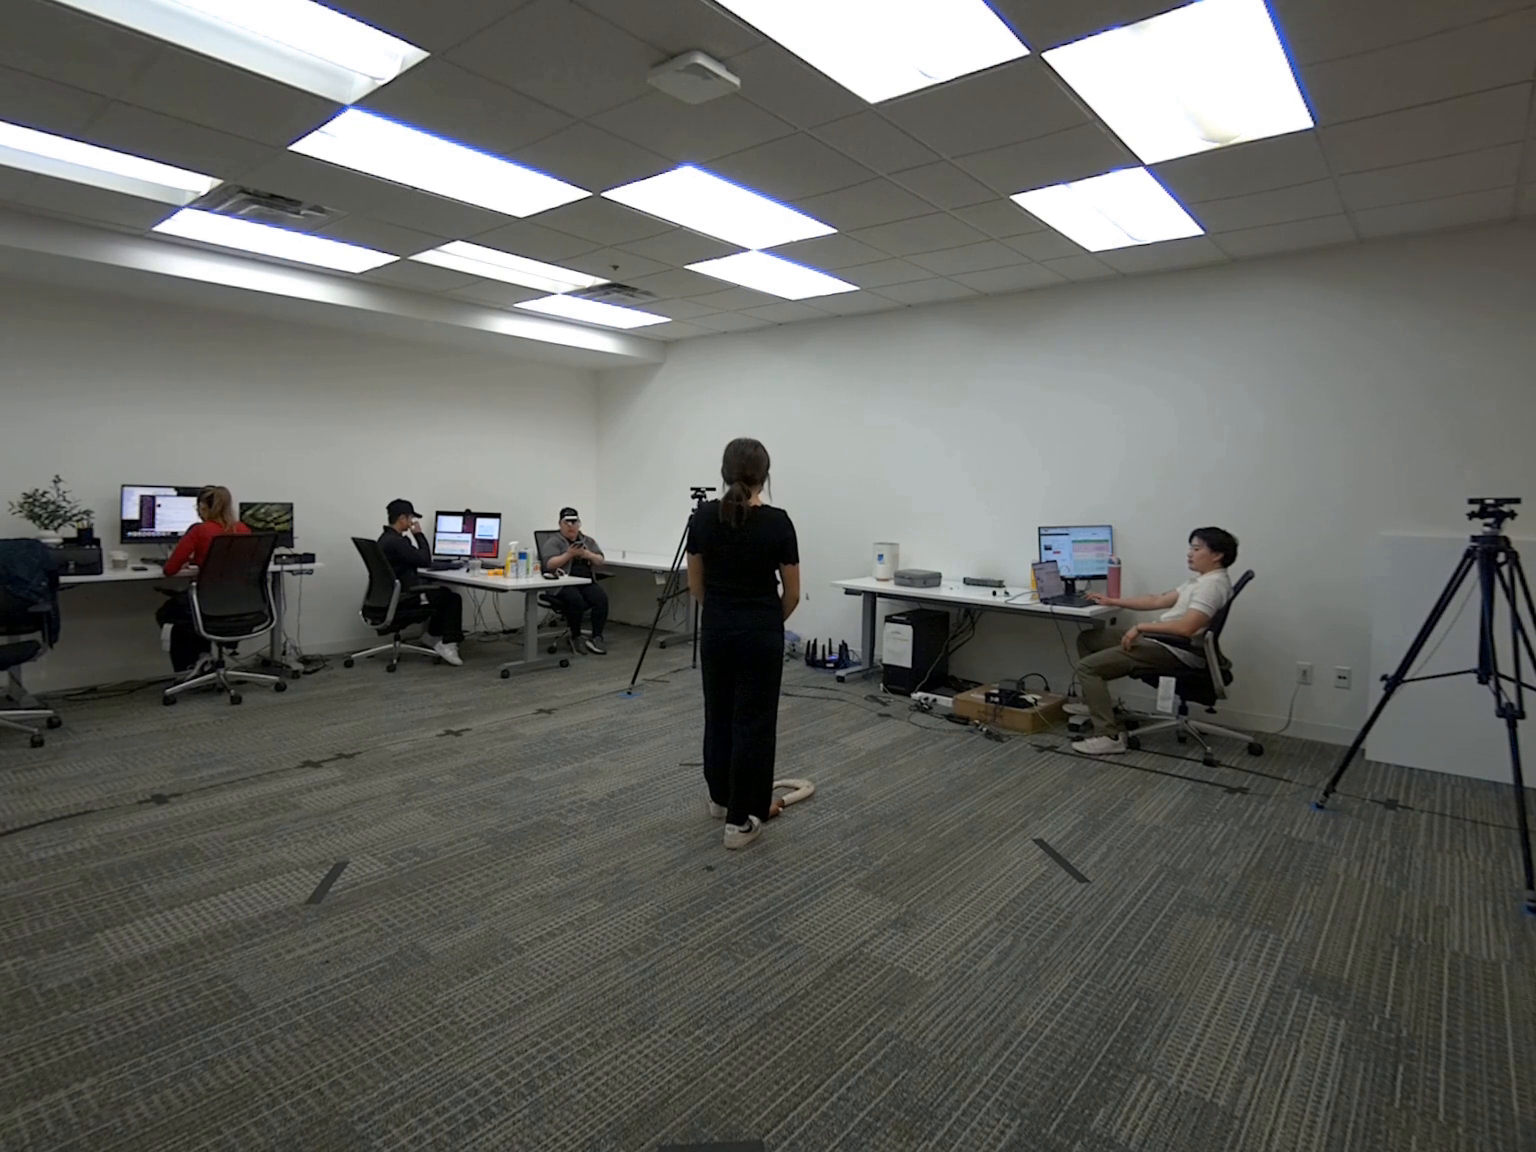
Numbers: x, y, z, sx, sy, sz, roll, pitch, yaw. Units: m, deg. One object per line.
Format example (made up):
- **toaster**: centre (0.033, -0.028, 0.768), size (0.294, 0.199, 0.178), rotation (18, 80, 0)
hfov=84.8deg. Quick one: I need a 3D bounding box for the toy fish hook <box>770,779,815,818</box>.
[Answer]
- **toy fish hook**: centre (0.024, 0.986, 3.787), size (0.230, 0.048, 0.495), rotation (-4, 2, 26)
